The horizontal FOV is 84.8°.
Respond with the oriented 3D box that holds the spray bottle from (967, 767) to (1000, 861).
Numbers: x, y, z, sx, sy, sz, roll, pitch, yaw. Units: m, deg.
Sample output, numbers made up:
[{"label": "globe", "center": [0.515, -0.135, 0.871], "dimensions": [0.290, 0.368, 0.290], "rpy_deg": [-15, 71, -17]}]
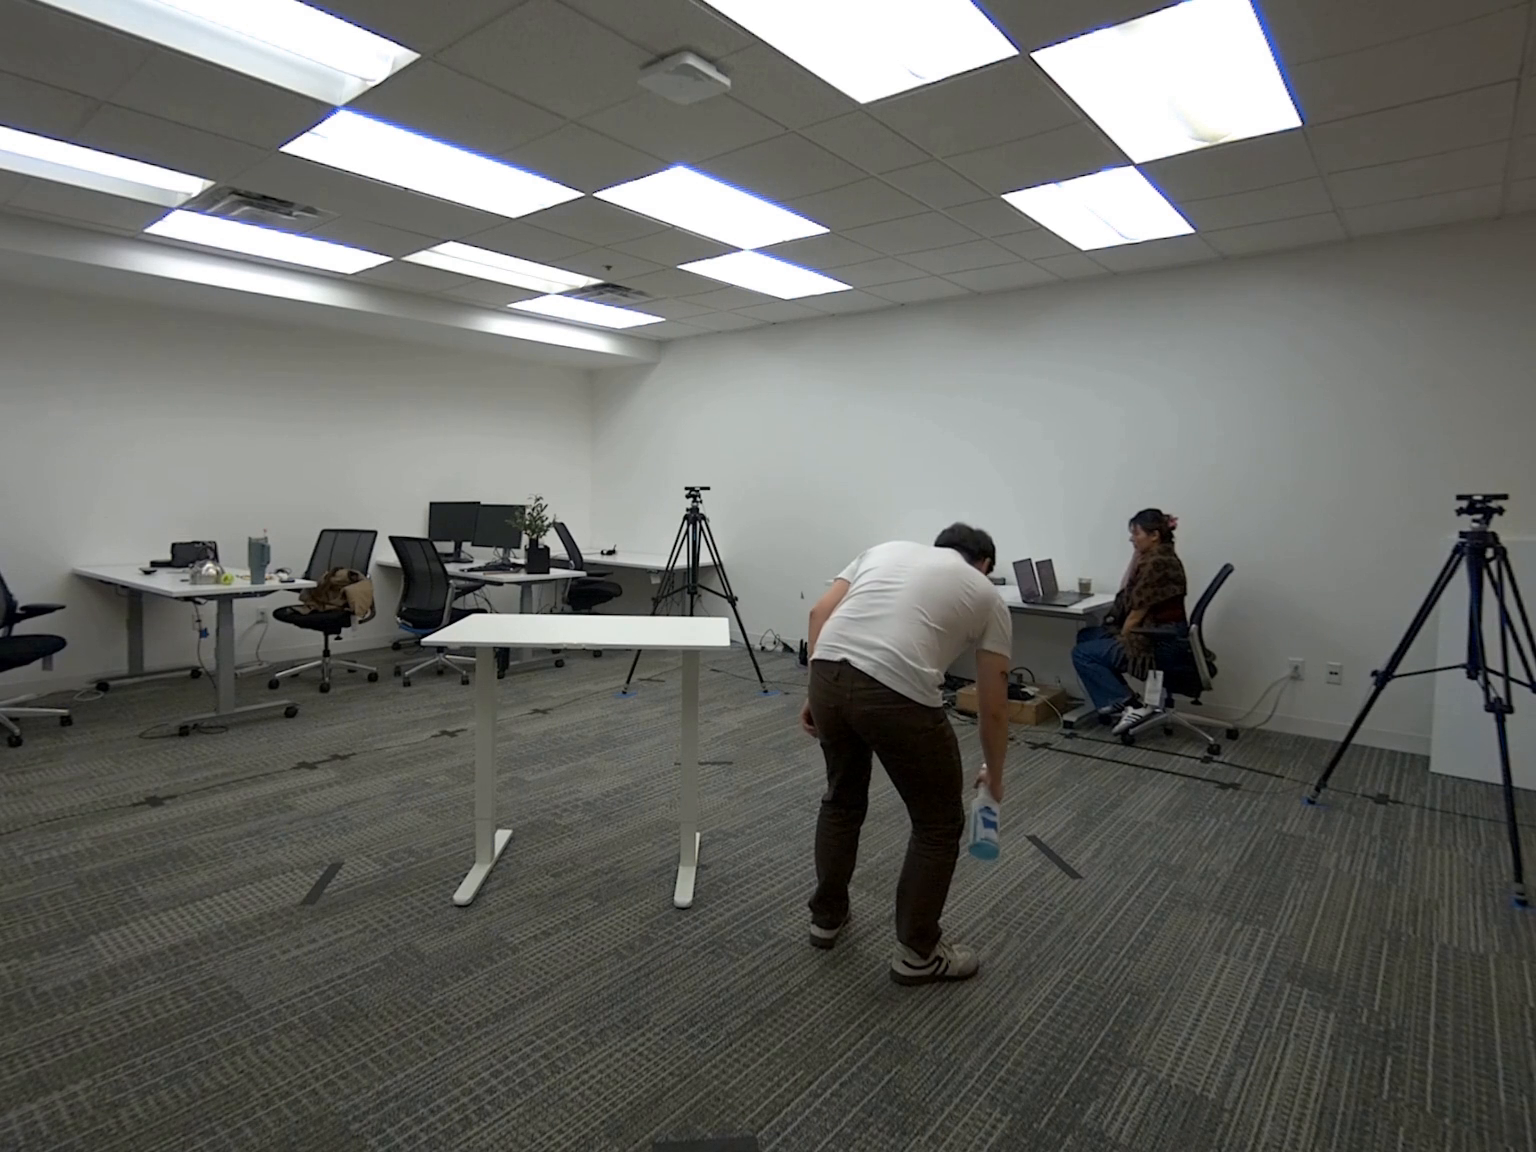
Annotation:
[{"label": "spray bottle", "center": [0.654, 0.711, 2.597], "dimensions": [0.087, 0.302, 0.088], "rpy_deg": [41, -47, -23]}]
